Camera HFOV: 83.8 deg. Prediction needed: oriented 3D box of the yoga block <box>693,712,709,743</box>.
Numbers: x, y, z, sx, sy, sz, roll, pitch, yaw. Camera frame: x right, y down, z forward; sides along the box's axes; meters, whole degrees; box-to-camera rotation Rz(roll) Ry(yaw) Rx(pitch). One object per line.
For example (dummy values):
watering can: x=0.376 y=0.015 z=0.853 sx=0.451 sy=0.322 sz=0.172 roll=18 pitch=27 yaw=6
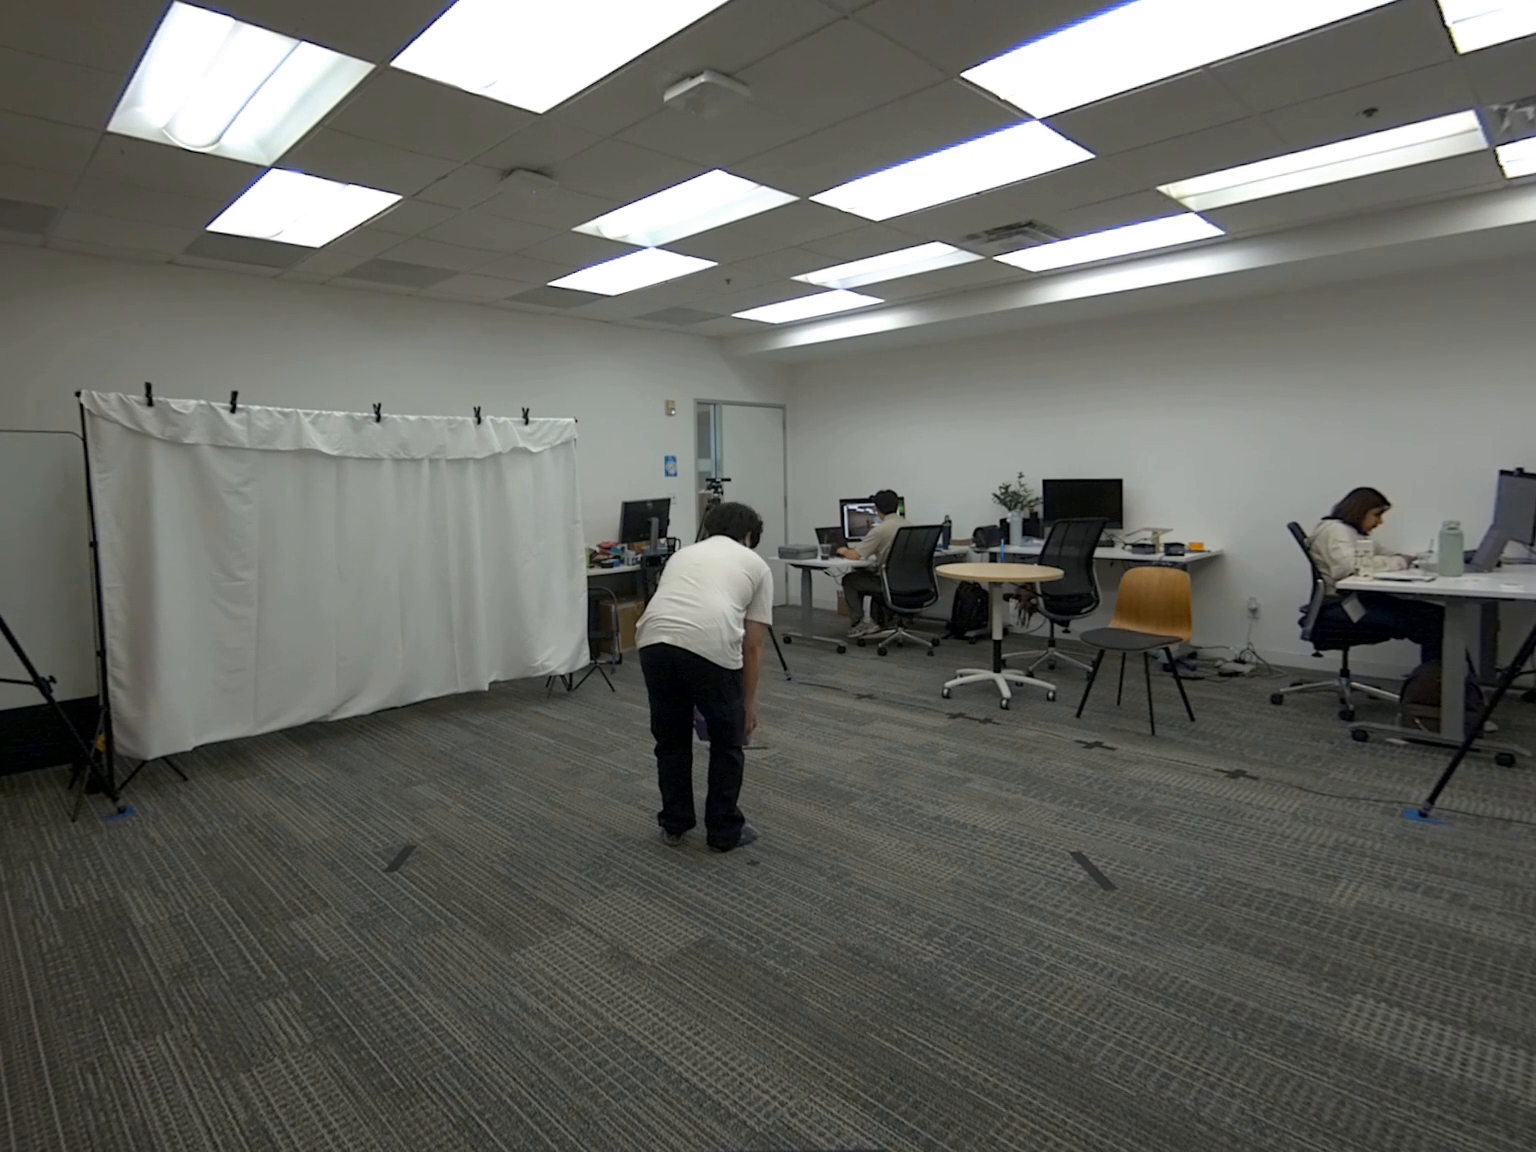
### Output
yoga block: x=-0.191 y=0.629 z=3.583 sx=0.234 sy=0.144 sz=0.077 roll=2 pitch=40 yaw=23
